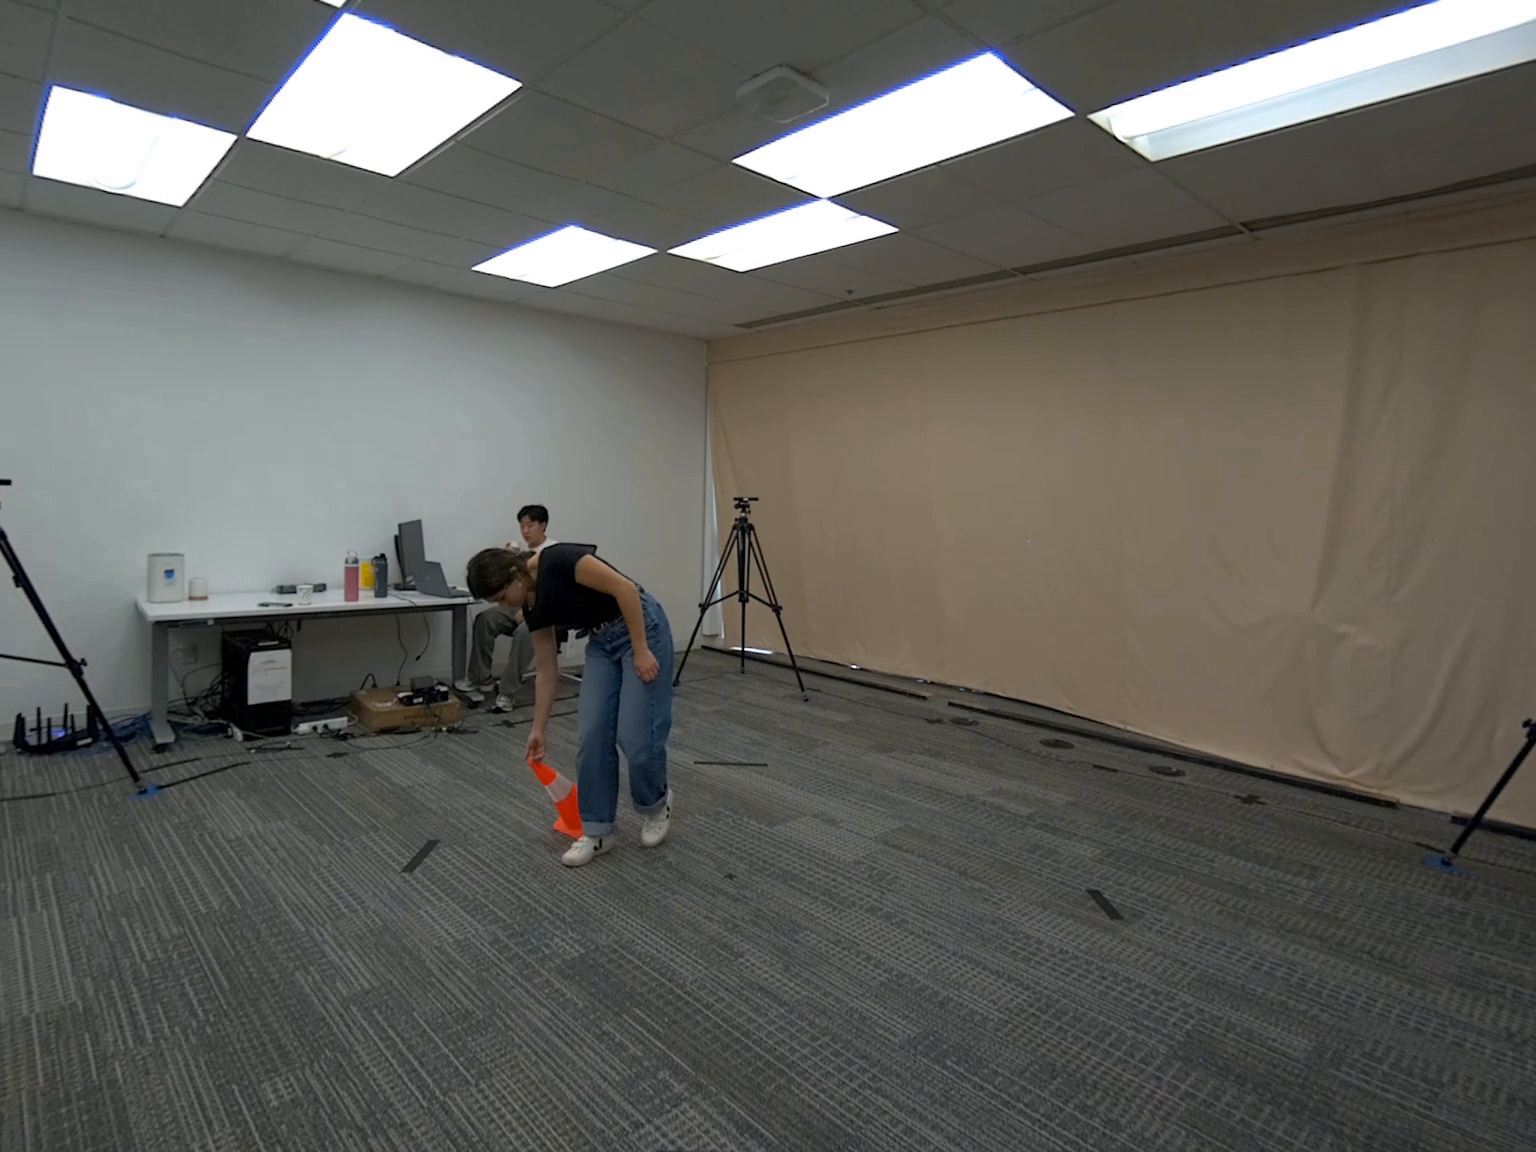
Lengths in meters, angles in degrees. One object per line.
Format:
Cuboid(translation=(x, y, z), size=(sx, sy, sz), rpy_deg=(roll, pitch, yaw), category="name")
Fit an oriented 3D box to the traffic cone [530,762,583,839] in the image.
Cuboid(translation=(-0.849, 0.857, 3.402), size=(0.208, 0.373, 0.206), rpy_deg=(-1, 42, 34), category="traffic cone")
